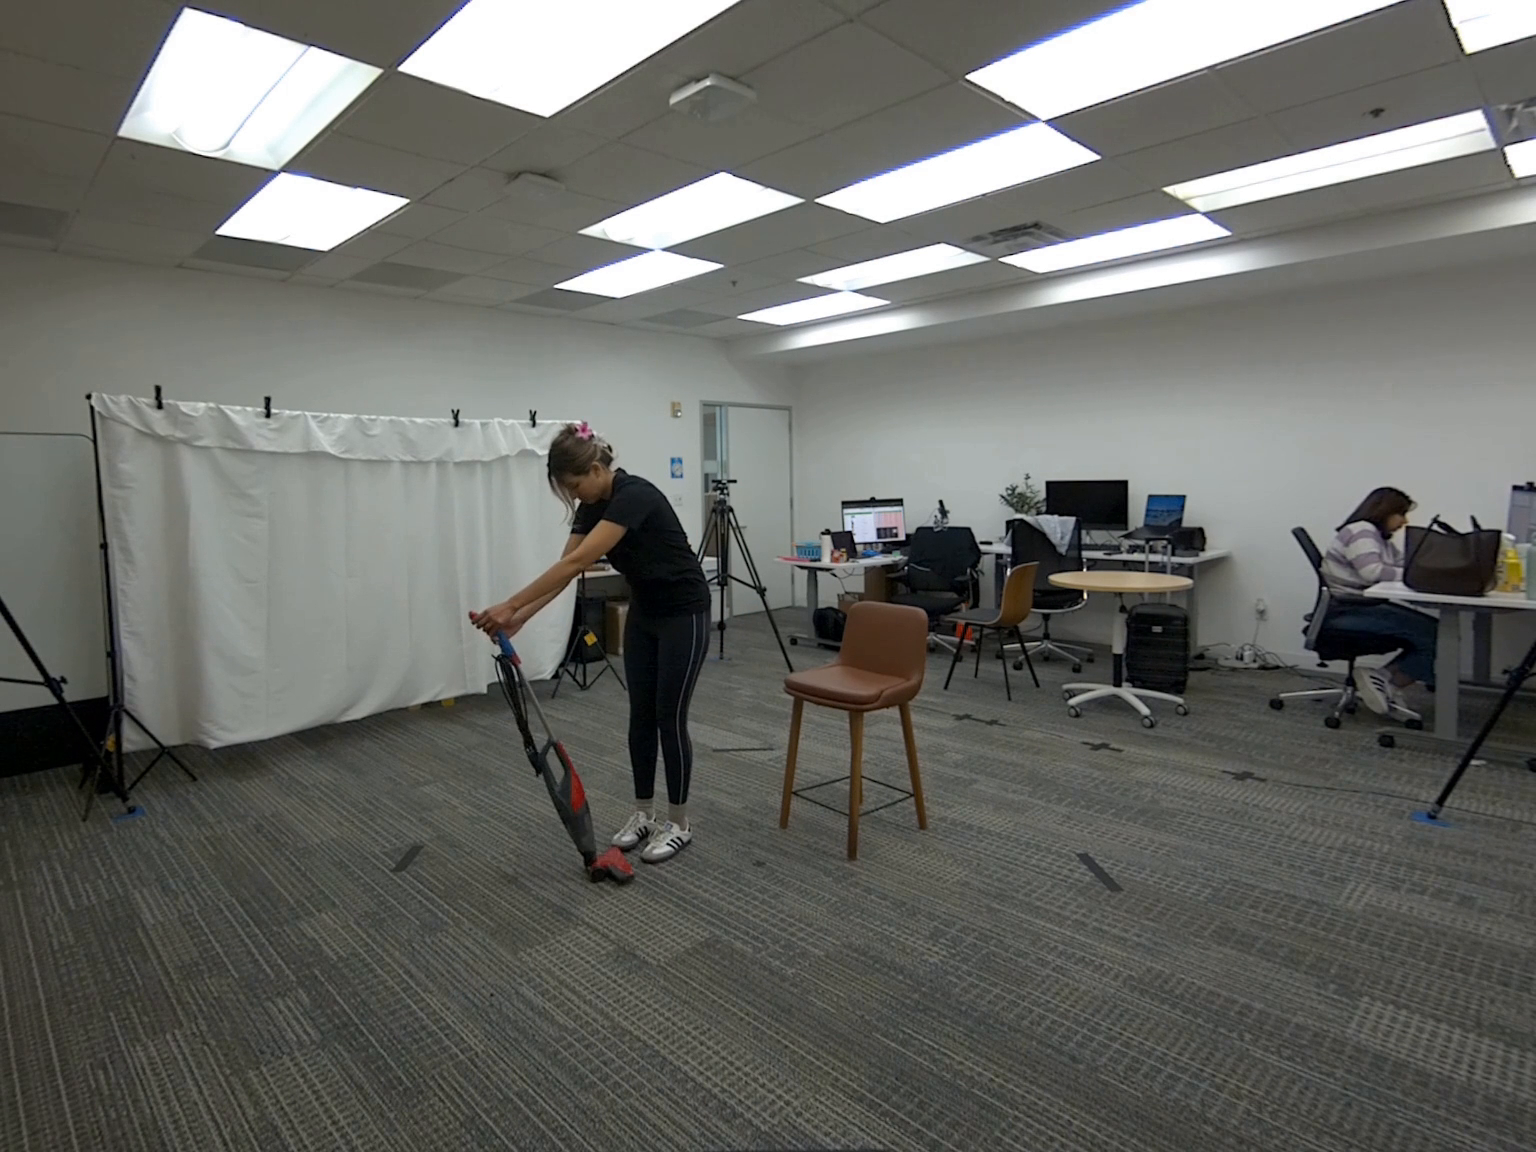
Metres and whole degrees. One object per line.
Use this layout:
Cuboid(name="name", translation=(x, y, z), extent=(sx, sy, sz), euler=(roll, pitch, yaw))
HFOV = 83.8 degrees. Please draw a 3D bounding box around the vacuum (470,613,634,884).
Cuboid(name="vacuum", translation=(-0.791, 0.593, 2.975), extent=(0.143, 1.038, 0.257), euler=(-28, 10, -20))
